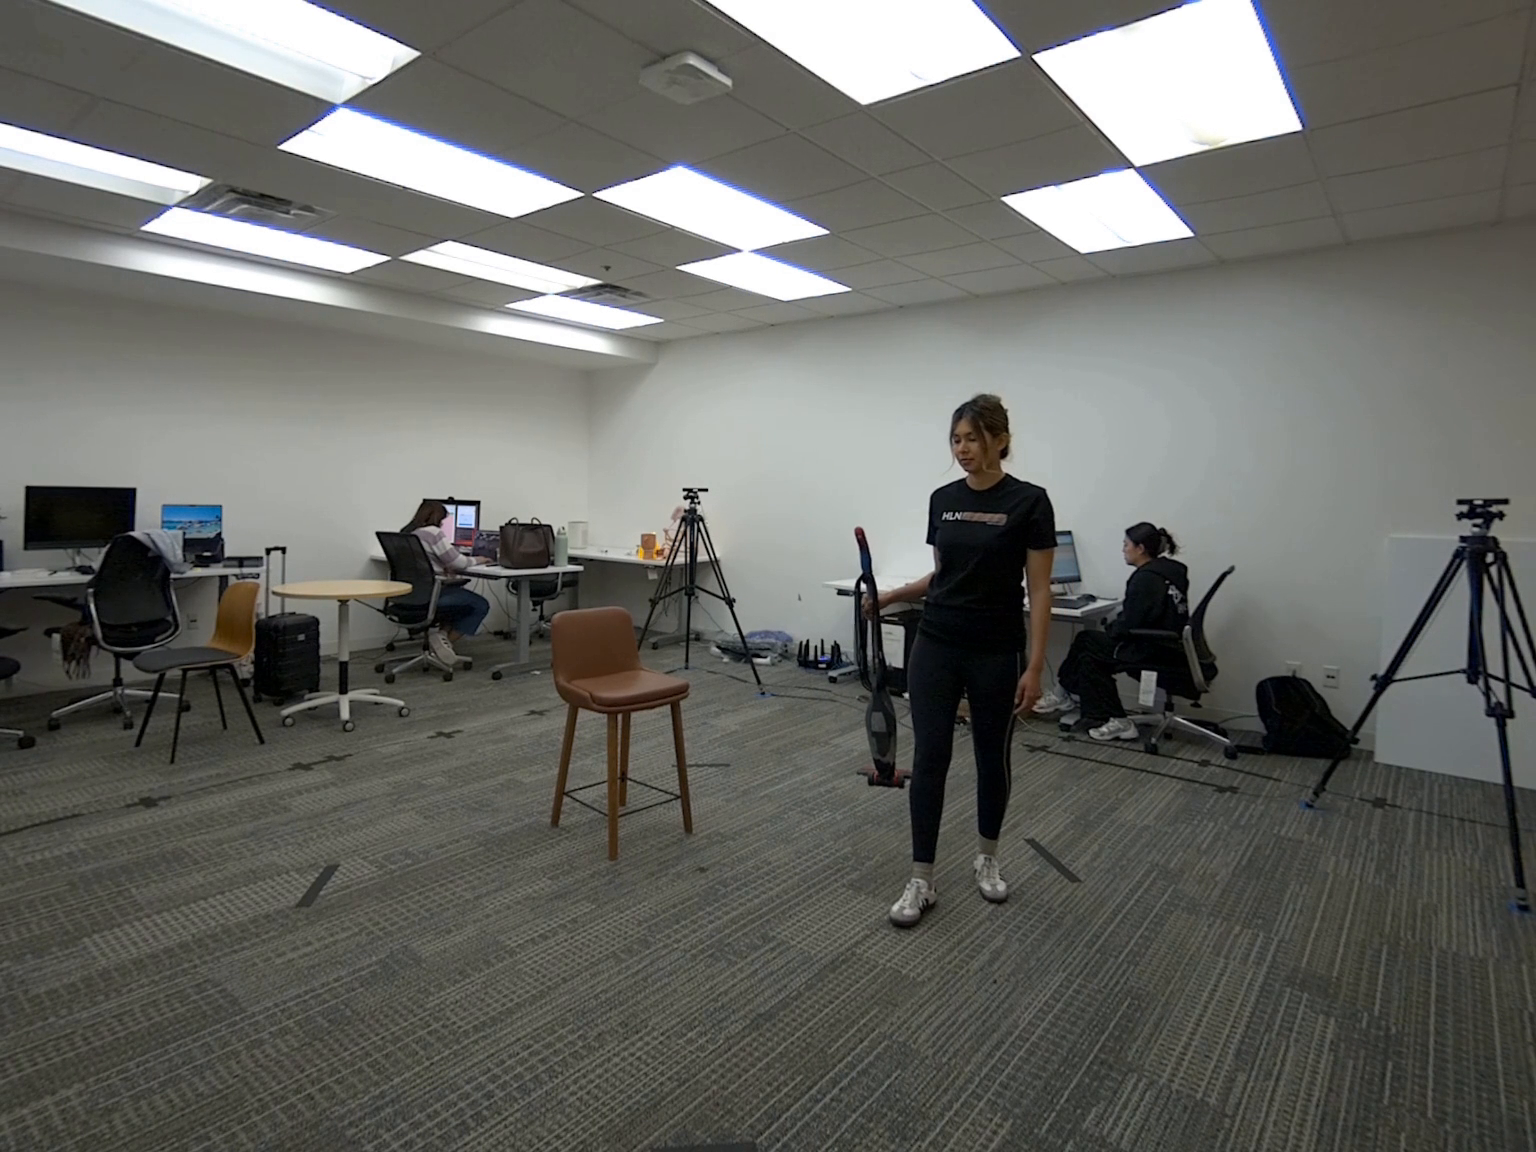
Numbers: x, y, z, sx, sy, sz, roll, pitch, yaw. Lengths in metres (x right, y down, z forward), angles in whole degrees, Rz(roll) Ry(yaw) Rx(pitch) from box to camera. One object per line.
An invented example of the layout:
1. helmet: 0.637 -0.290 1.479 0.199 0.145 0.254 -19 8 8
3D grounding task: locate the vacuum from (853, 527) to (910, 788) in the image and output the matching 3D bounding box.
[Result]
1. vacuum: 0.358 0.311 2.998 0.257 1.023 0.145 -2 25 20
